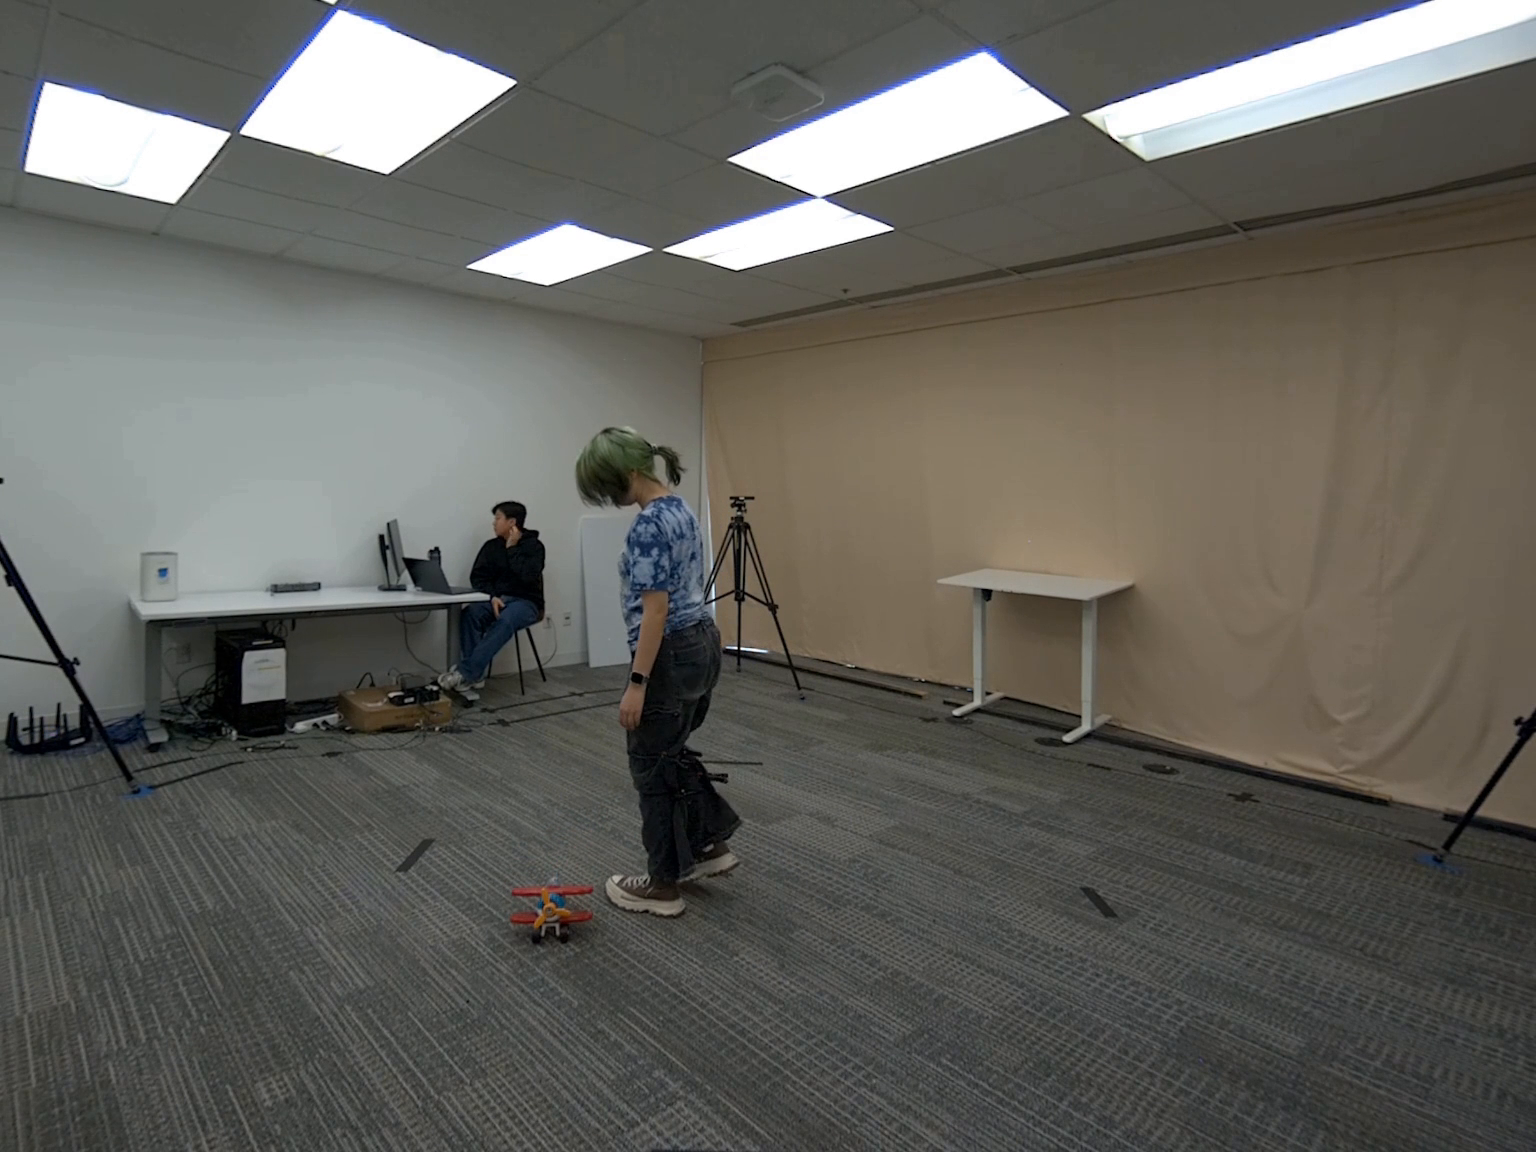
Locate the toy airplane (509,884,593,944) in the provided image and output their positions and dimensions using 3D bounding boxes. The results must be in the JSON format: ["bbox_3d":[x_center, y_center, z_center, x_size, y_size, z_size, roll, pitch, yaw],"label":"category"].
[{"bbox_3d":[-0.710,1.059,2.690,0.246,0.156,0.266,-3,7,-33],"label":"toy airplane"}]
